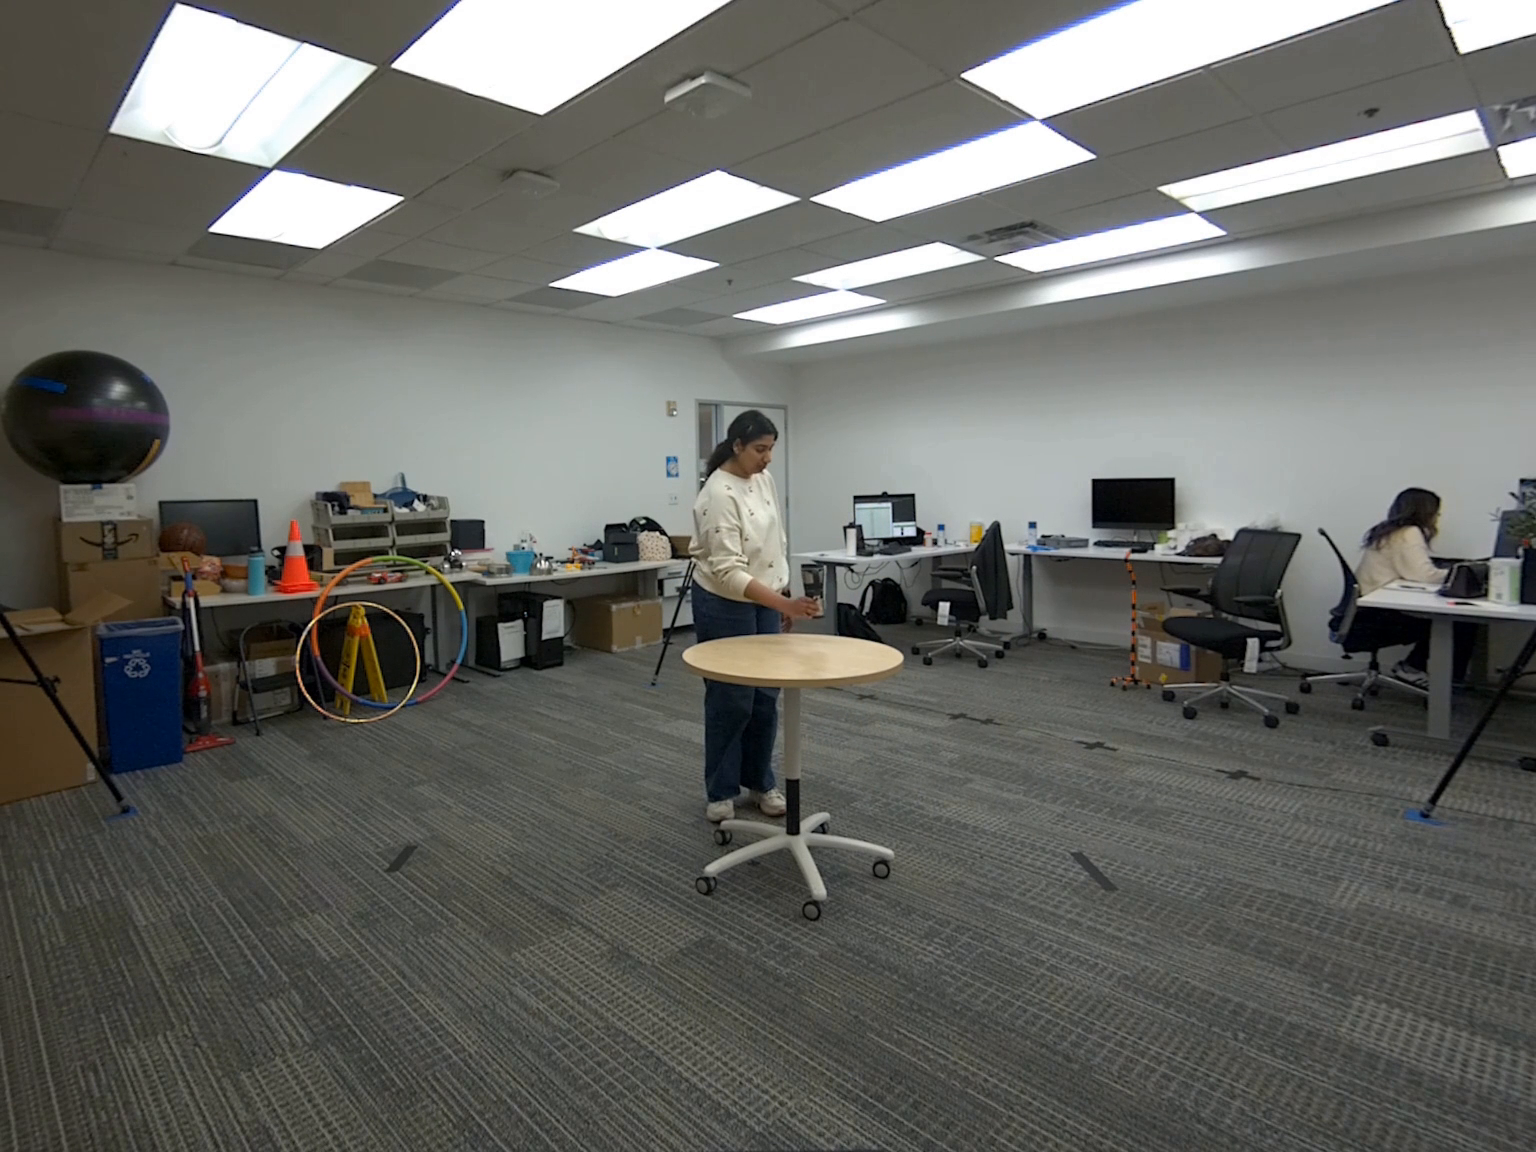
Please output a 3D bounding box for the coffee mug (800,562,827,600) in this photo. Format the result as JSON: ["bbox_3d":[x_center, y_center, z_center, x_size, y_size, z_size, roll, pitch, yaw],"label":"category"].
[{"bbox_3d":[0.163,0.061,3.150,0.090,0.203,0.119,0,1,33],"label":"coffee mug"}]
